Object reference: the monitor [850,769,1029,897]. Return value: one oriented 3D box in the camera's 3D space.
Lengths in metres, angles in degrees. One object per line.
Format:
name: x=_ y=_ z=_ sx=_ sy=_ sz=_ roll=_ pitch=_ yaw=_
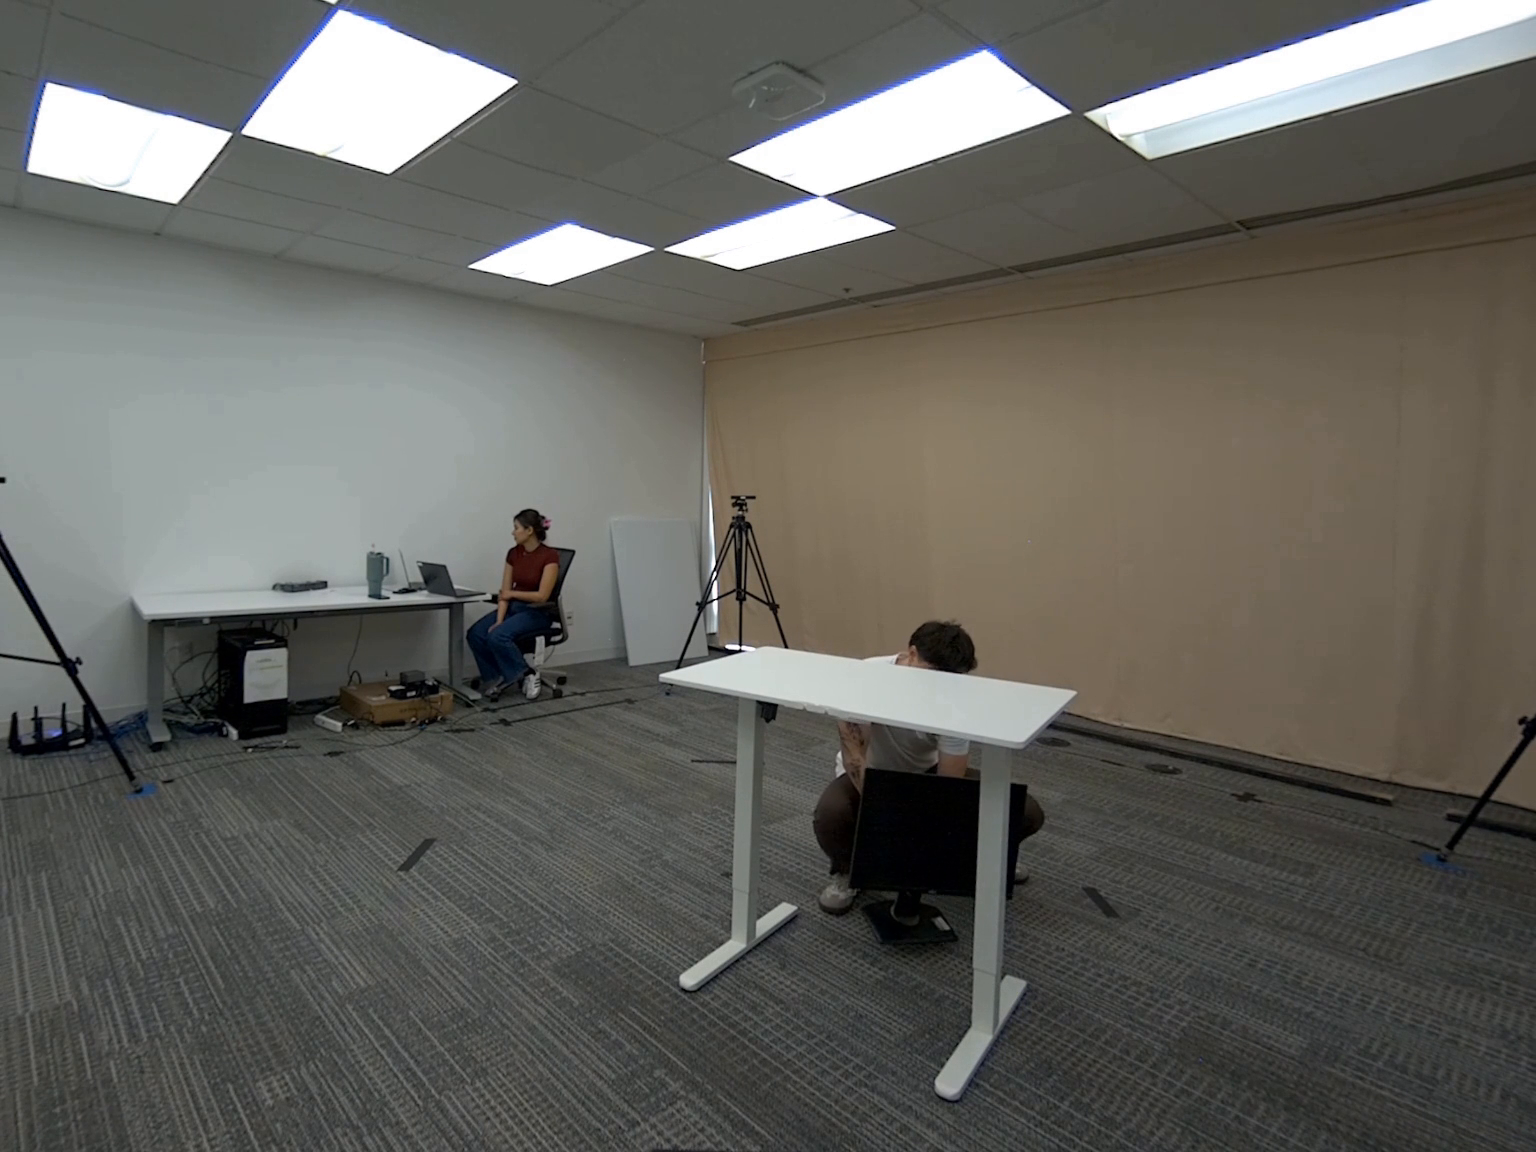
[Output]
monitor: x=0.489 y=0.857 z=2.566 sx=0.532 sy=0.518 sz=0.191 roll=6 pitch=16 yaw=-16
